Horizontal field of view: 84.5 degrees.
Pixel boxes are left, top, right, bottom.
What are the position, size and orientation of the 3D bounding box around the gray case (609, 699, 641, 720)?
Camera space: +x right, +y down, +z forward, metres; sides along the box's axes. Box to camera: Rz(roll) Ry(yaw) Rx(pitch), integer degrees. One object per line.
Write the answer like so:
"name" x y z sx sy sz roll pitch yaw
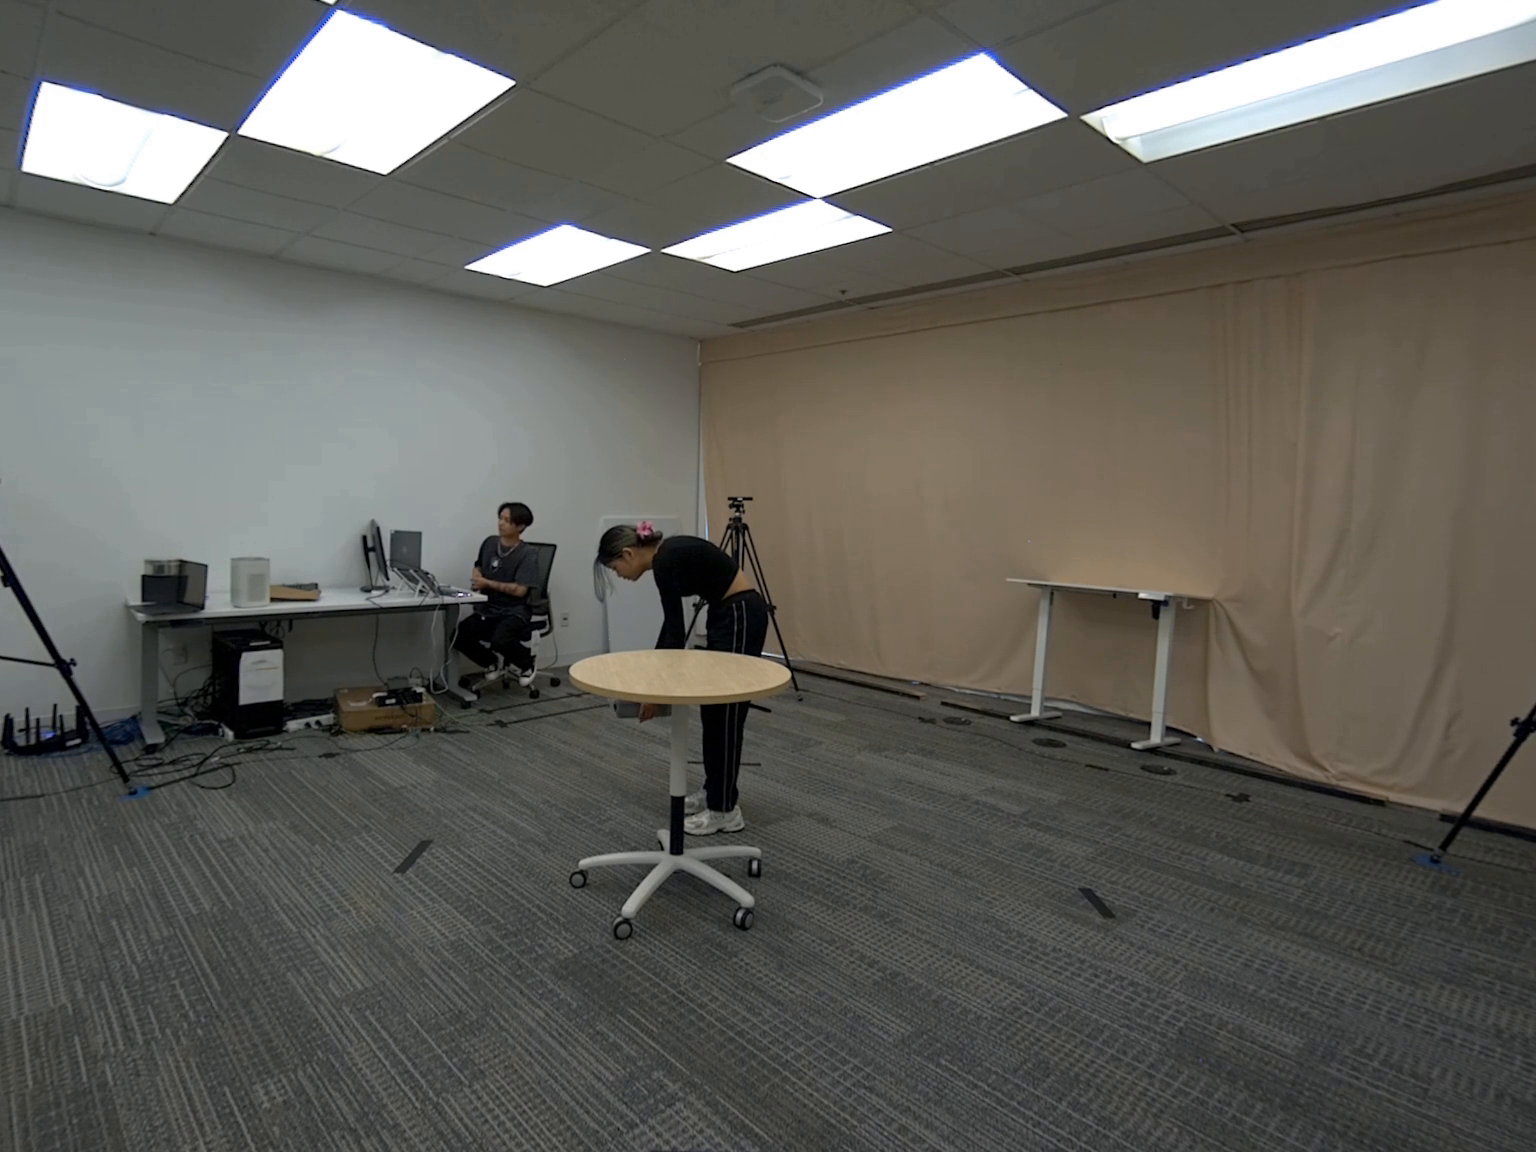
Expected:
"gray case" -0.543 0.531 3.616 0.257 0.104 0.261 2 5 -18
